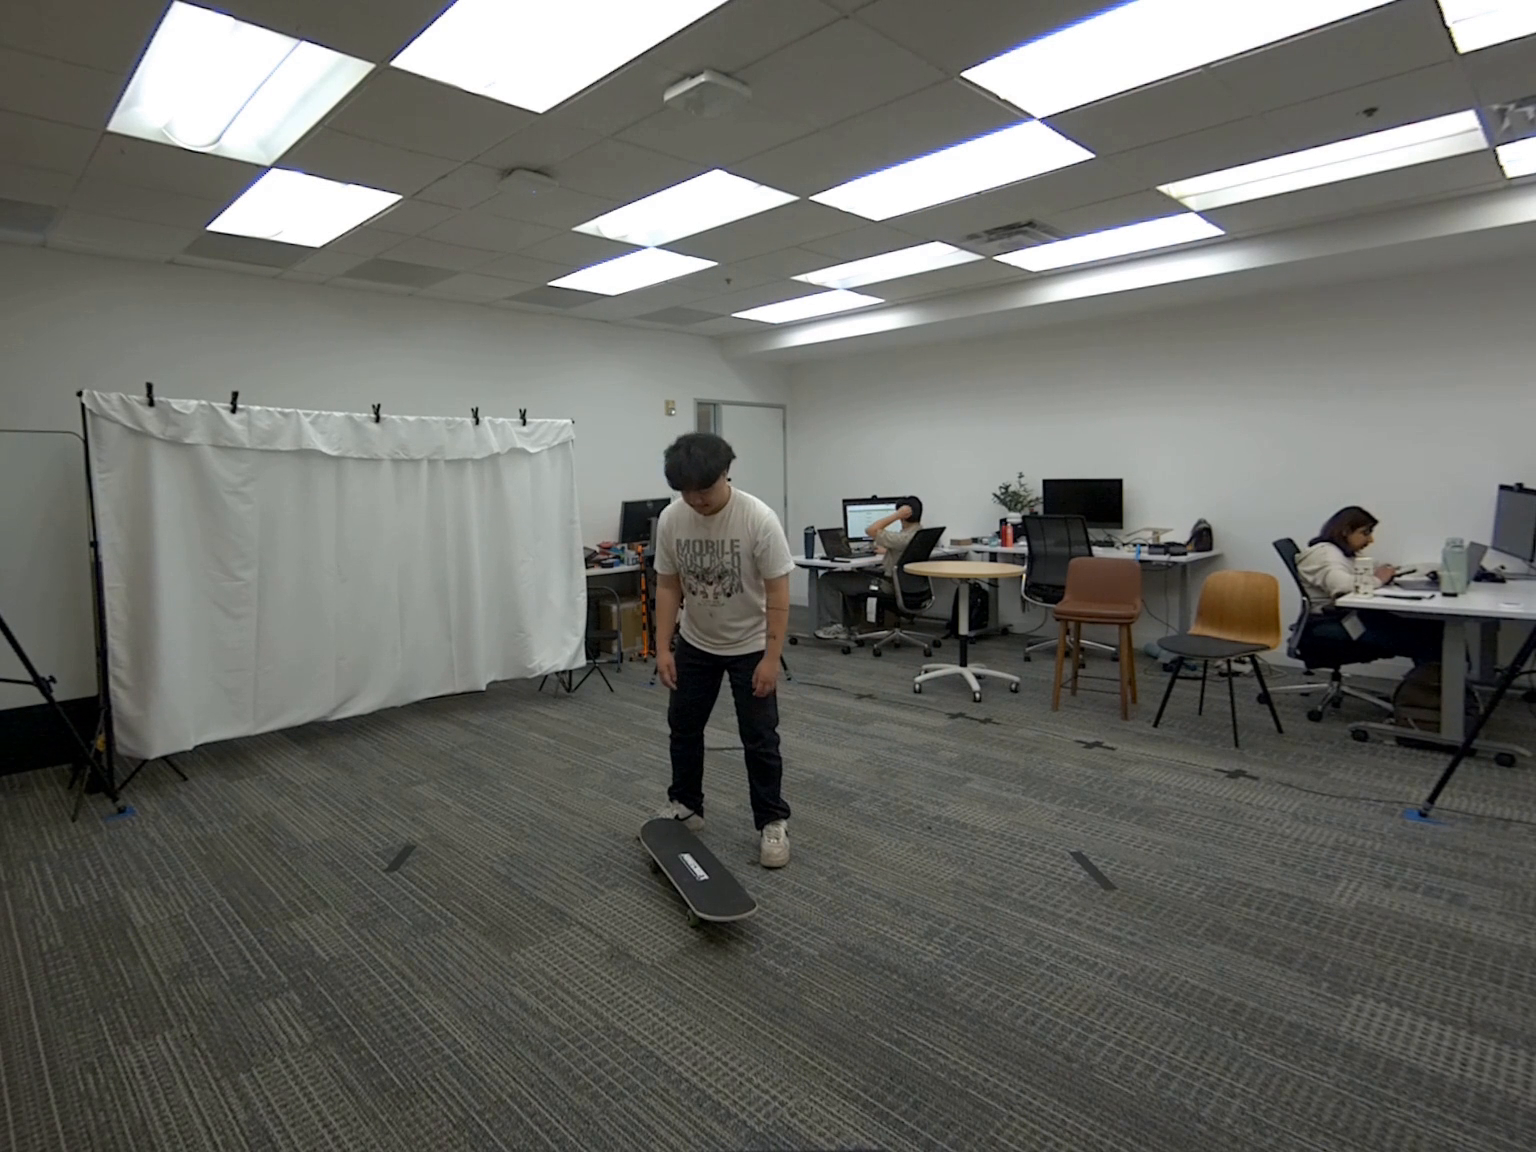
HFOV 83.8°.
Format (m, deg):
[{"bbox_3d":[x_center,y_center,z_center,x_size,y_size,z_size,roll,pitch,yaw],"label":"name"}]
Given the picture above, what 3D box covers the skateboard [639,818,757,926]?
[{"bbox_3d":[-0.248,1.015,2.889,0.190,0.110,0.805,-5,7,-24],"label":"skateboard"}]
